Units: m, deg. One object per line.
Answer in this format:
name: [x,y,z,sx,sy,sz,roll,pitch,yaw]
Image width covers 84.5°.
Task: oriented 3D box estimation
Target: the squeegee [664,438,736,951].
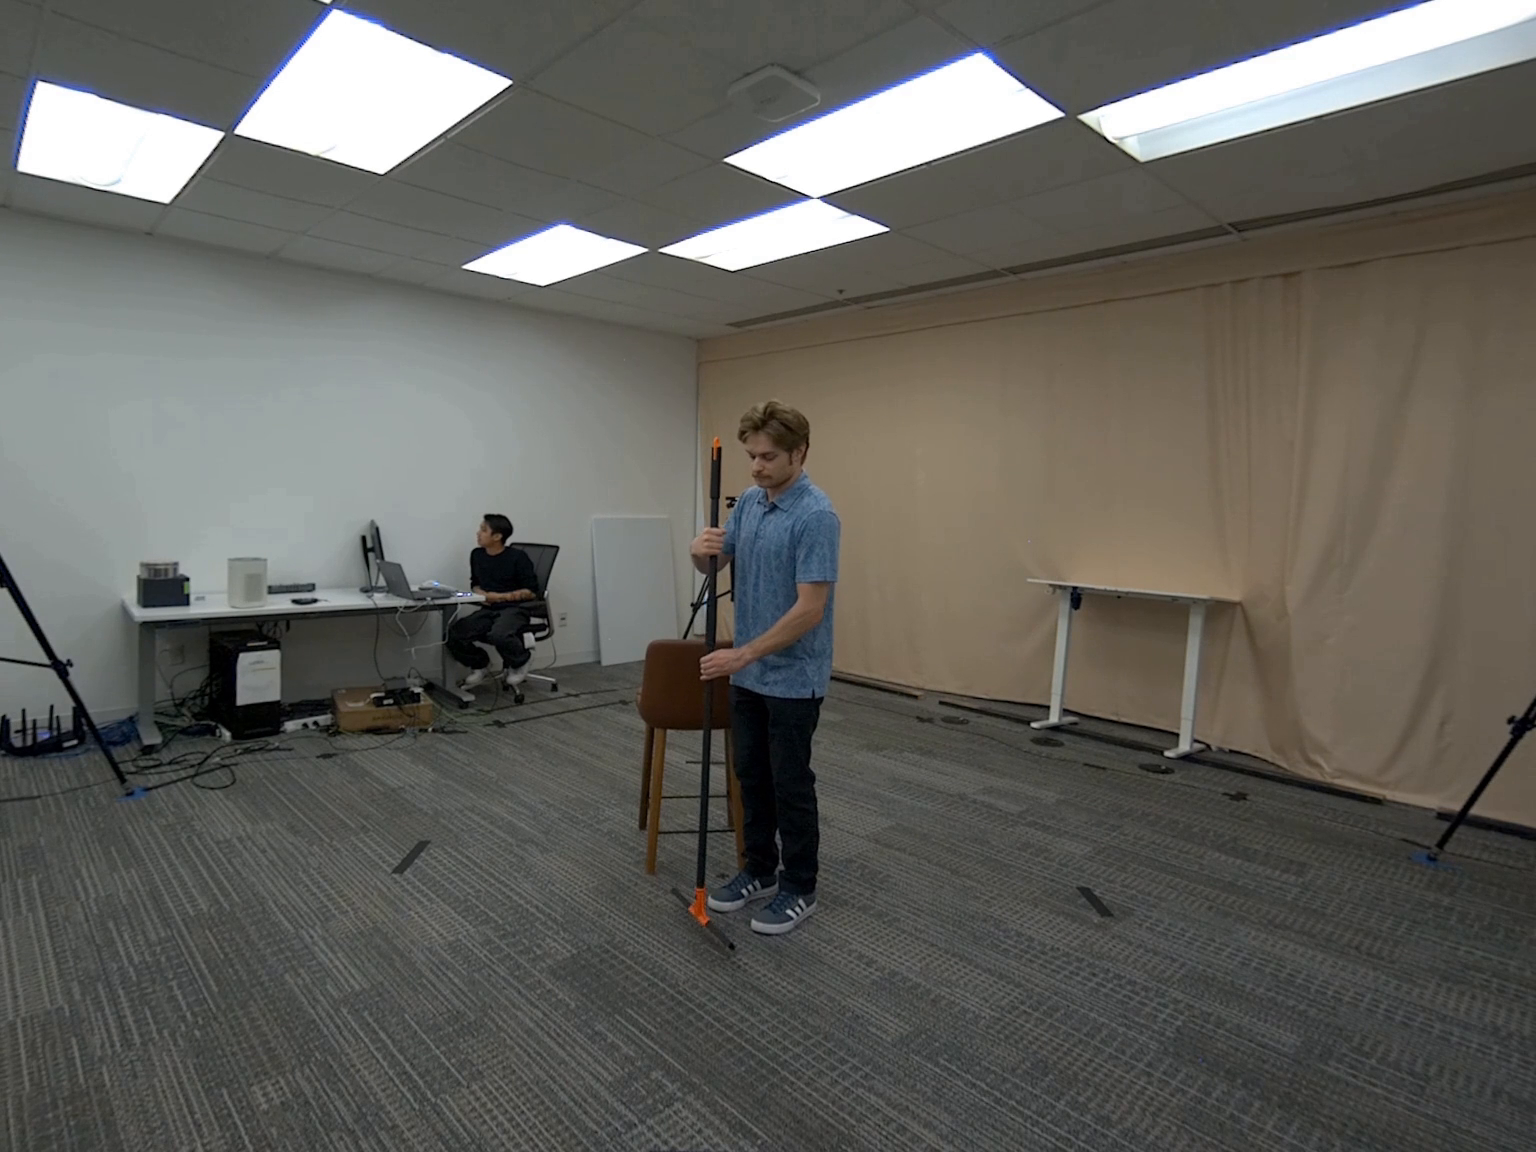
squeegee: [-0.198,0.354,2.642,0.052,1.535,0.445,0,3,-23]
